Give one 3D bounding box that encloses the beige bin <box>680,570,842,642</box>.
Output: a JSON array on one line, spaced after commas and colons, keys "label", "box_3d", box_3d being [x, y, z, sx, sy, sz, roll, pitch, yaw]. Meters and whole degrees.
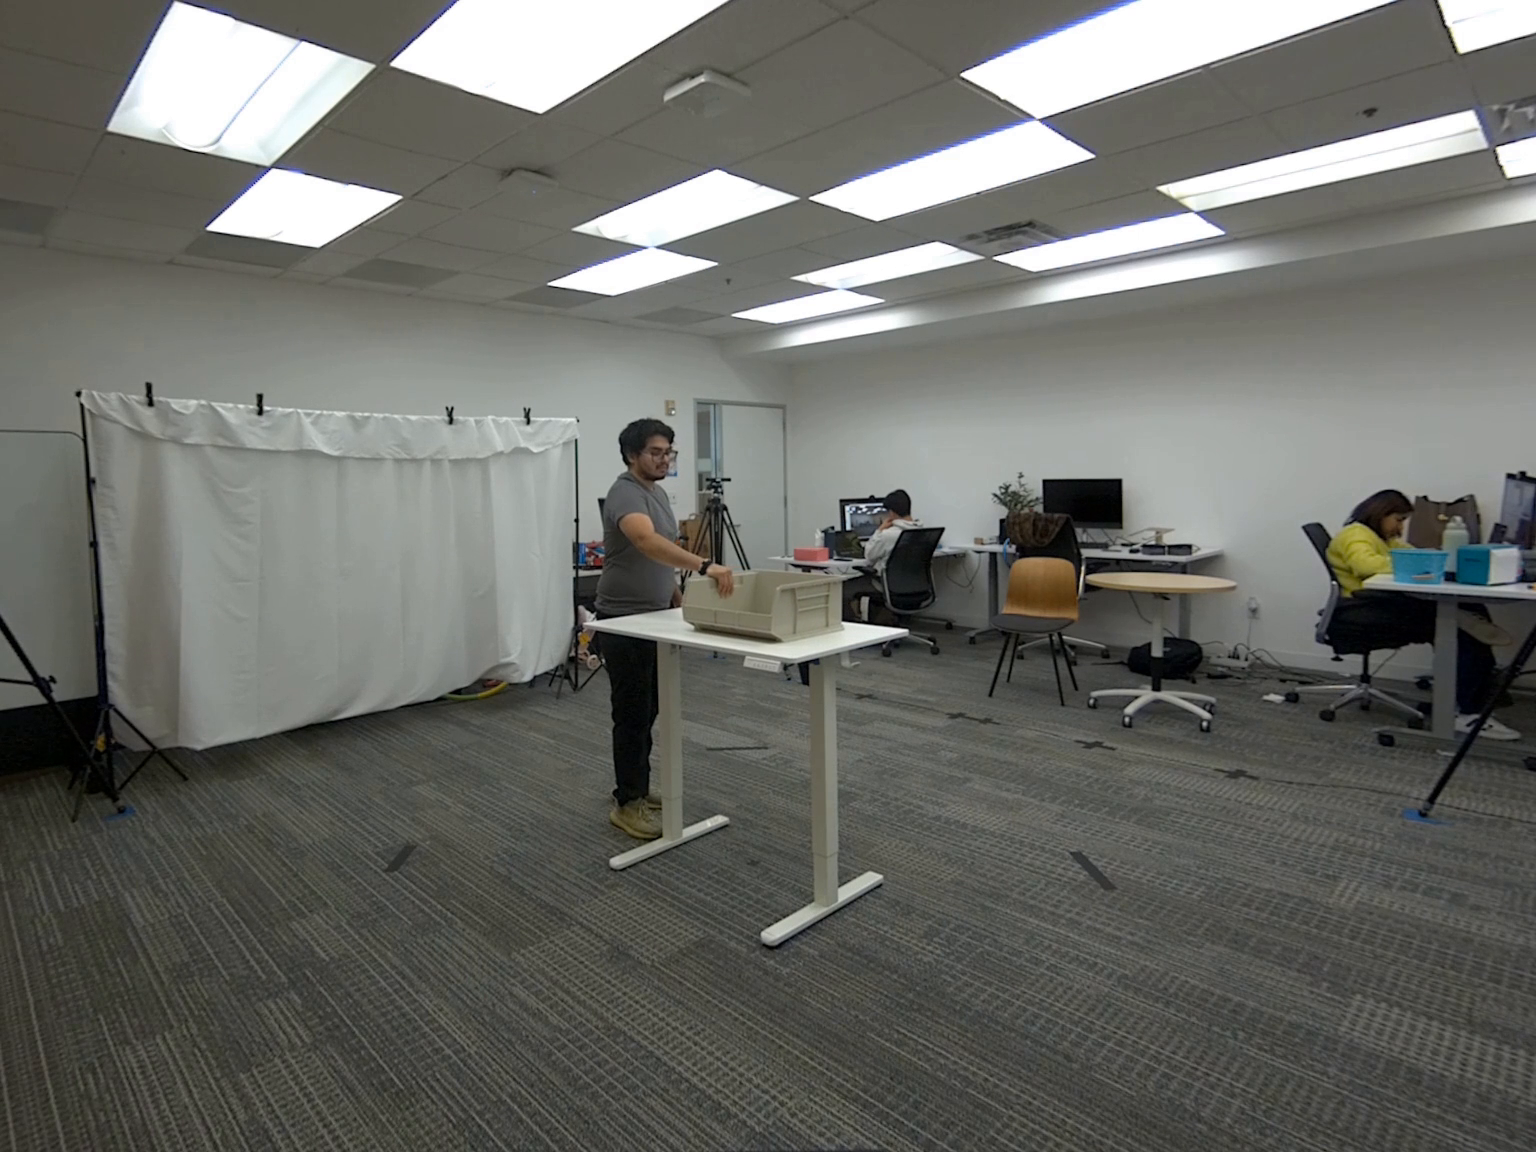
[{"label": "beige bin", "box_3d": [-0.014, 0.095, 2.872, 0.435, 0.188, 0.367, 4, 6, 44]}]
